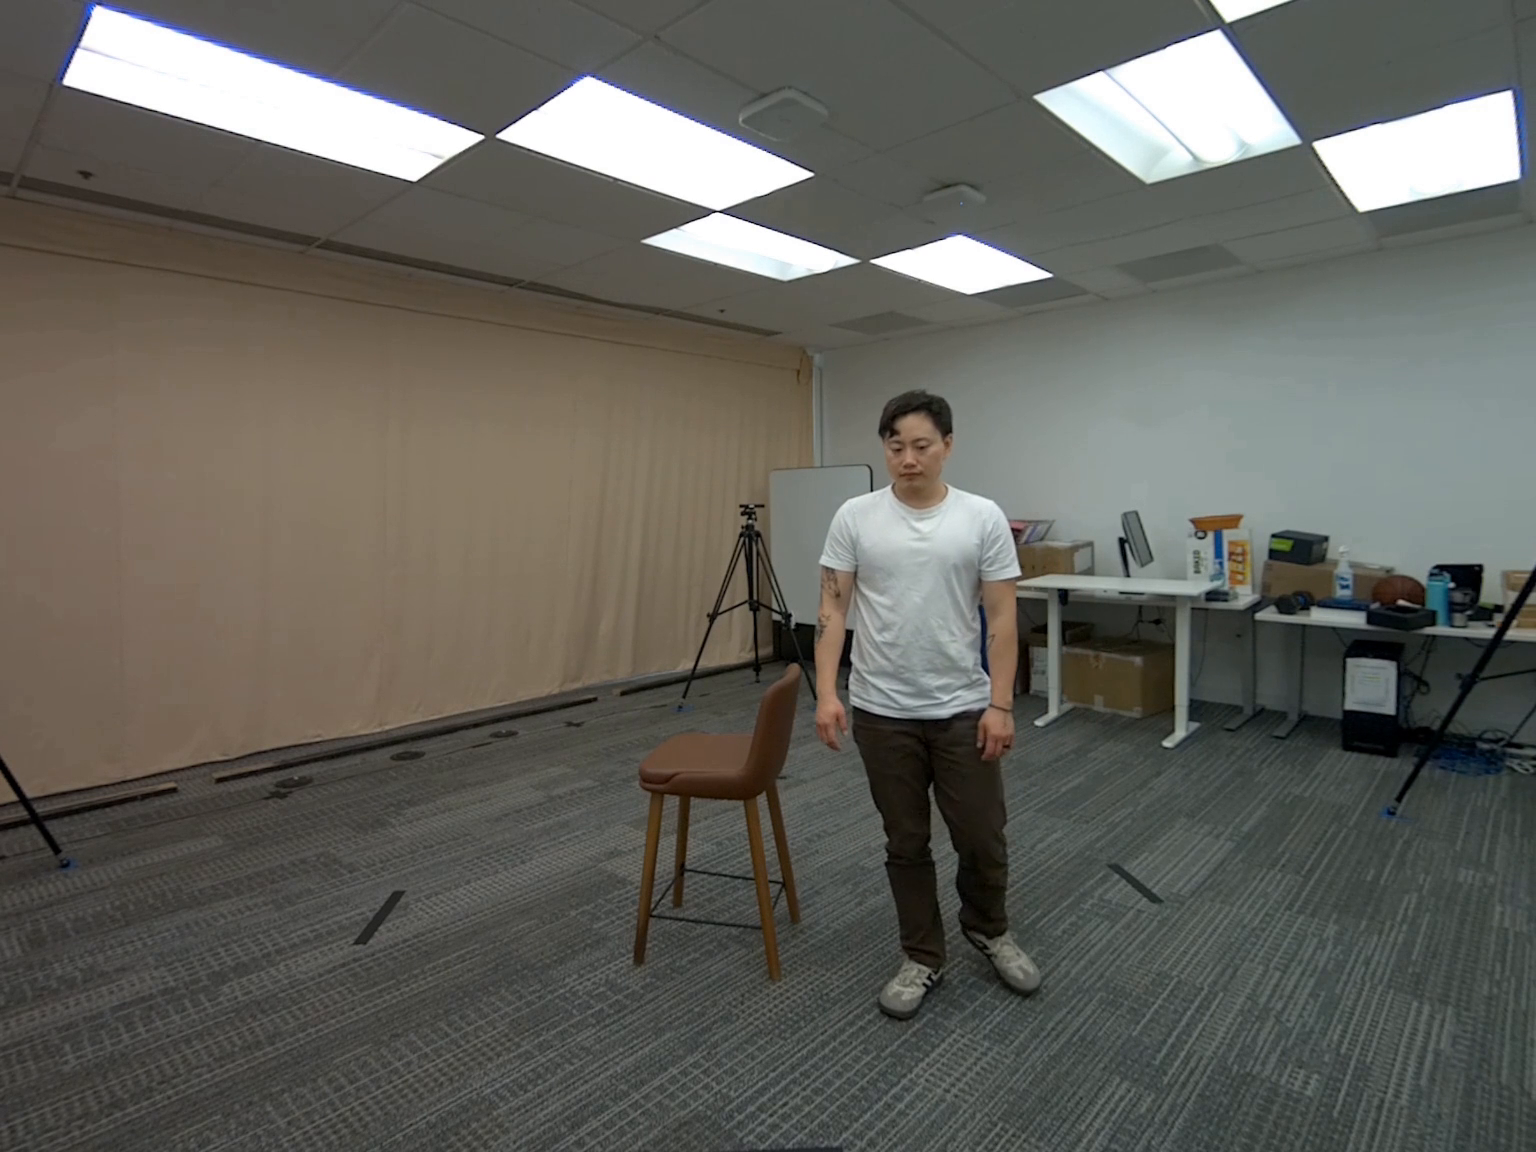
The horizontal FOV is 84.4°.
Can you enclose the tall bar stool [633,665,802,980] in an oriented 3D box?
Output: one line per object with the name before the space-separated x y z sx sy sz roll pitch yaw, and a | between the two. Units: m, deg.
tall bar stool | -0.149 0.736 2.669 0.476 0.887 0.450 1 4 15
